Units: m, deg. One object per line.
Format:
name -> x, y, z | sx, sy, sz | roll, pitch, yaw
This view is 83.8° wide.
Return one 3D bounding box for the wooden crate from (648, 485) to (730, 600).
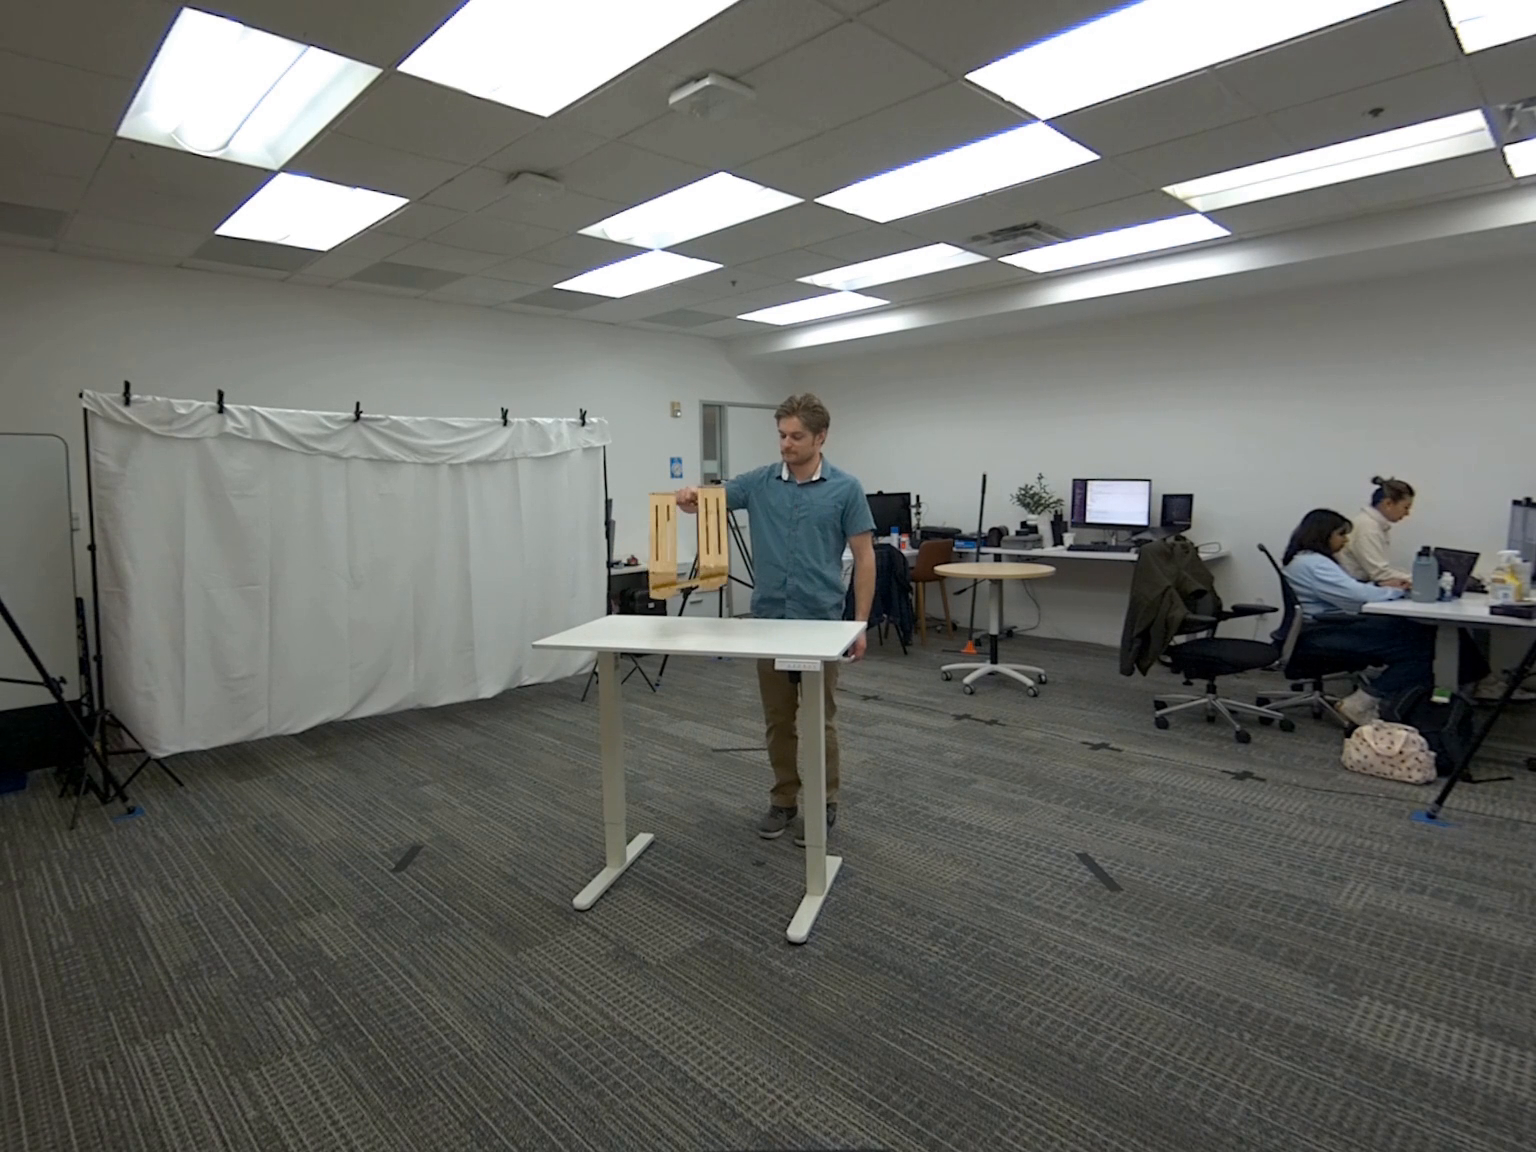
wooden crate -> -0.277, -0.109, 2.960 | 0.272, 0.331, 0.297 | -1, -22, -4
